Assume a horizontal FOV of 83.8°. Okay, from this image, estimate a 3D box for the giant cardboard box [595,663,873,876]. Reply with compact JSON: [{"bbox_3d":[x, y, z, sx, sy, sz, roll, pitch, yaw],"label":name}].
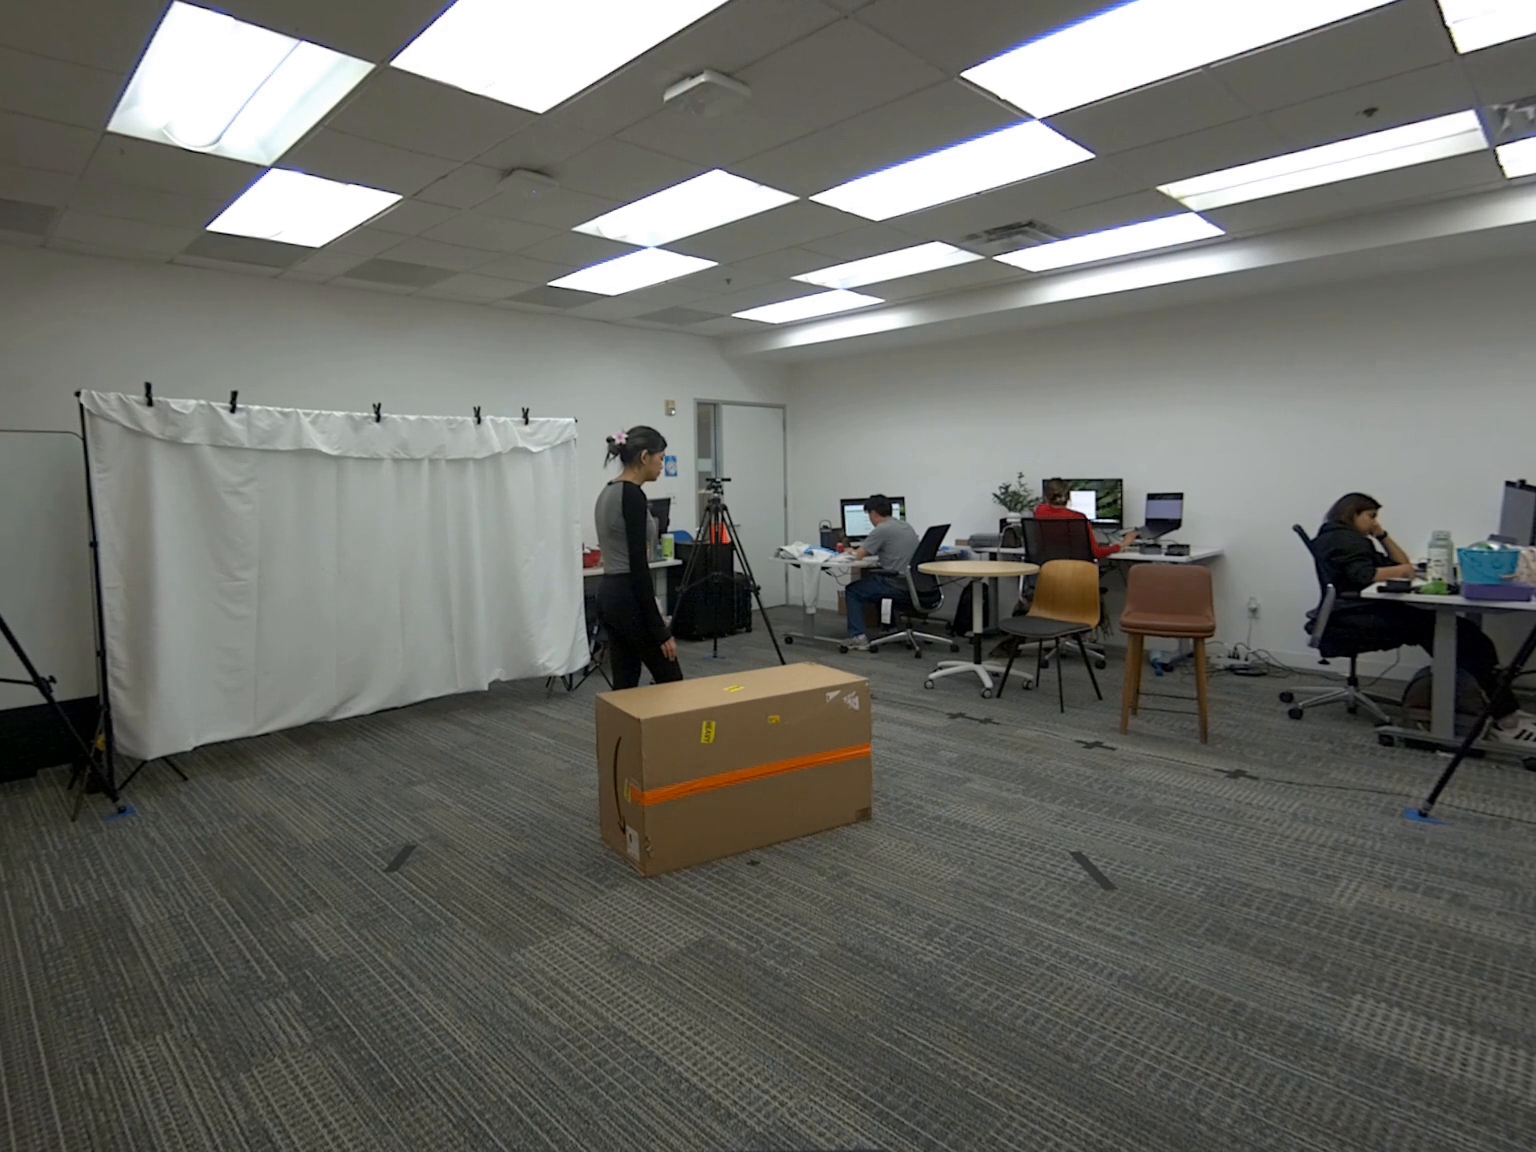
[{"bbox_3d":[-0.120,0.723,3.398,1.002,0.575,0.438,-5,5,-30],"label":"giant cardboard box"}]
